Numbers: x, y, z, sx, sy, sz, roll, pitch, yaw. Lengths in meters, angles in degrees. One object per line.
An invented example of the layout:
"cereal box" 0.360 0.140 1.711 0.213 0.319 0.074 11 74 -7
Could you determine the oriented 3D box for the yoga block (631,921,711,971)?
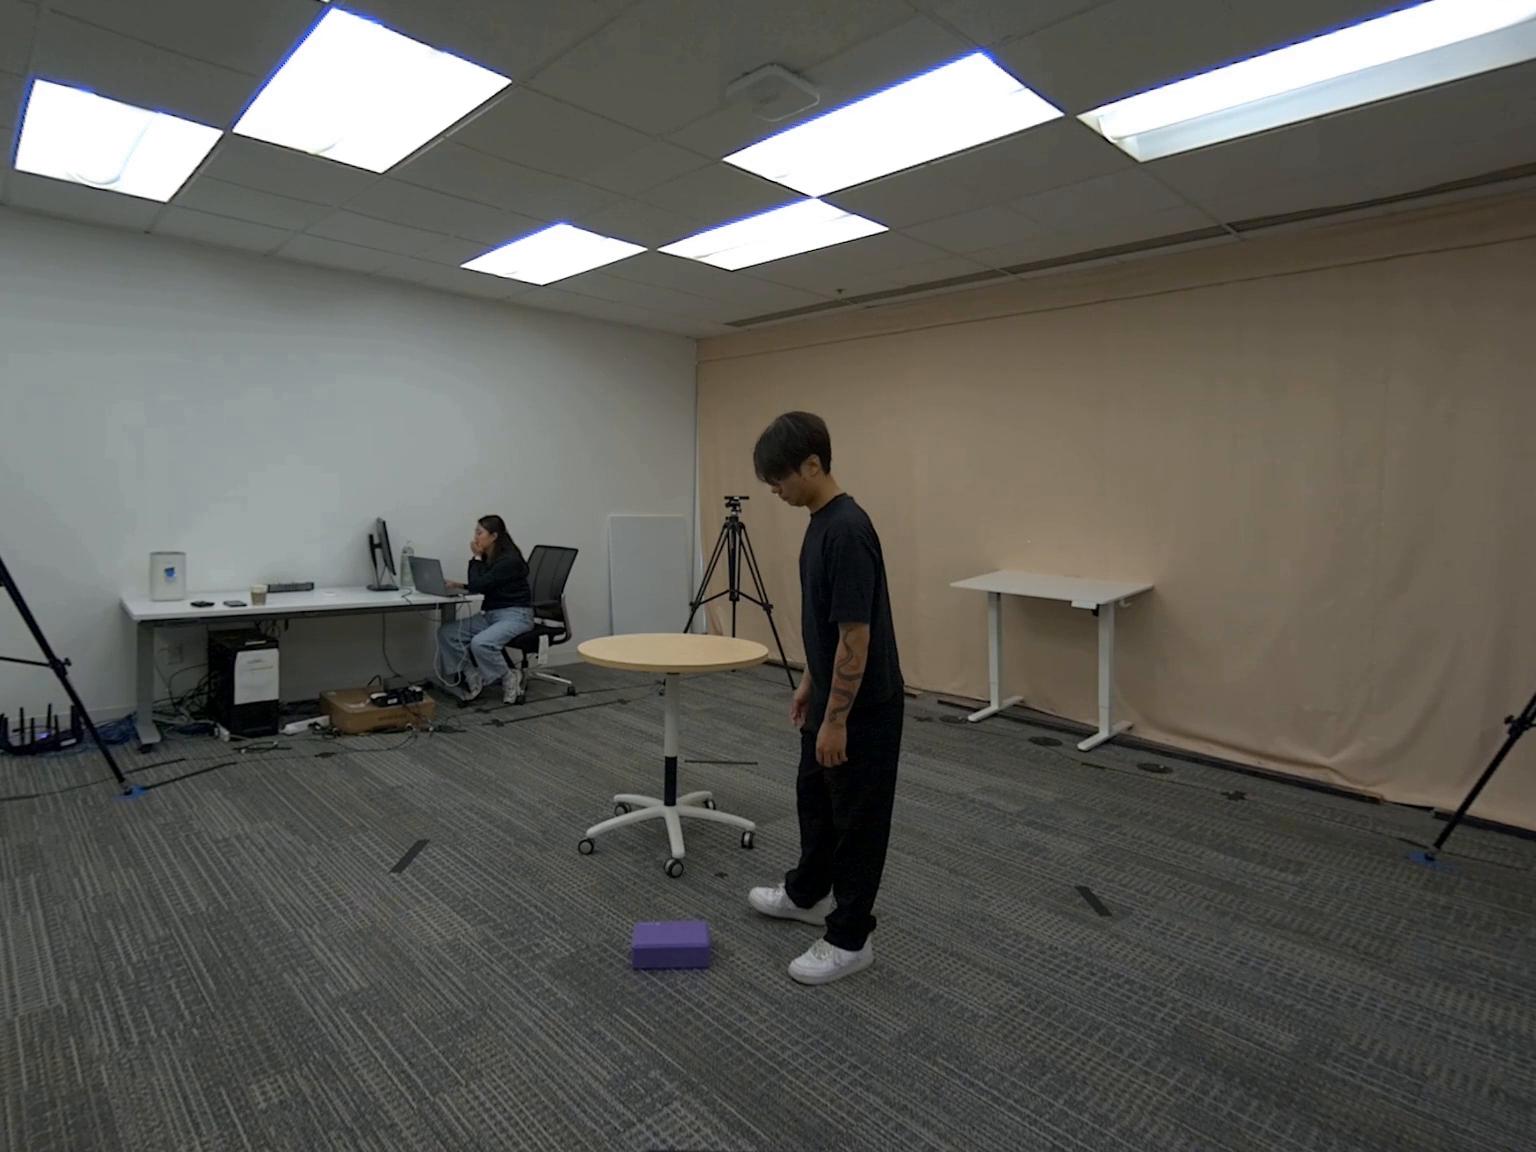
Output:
"yoga block" -0.297 1.113 2.535 0.228 0.076 0.150 1 4 -5
